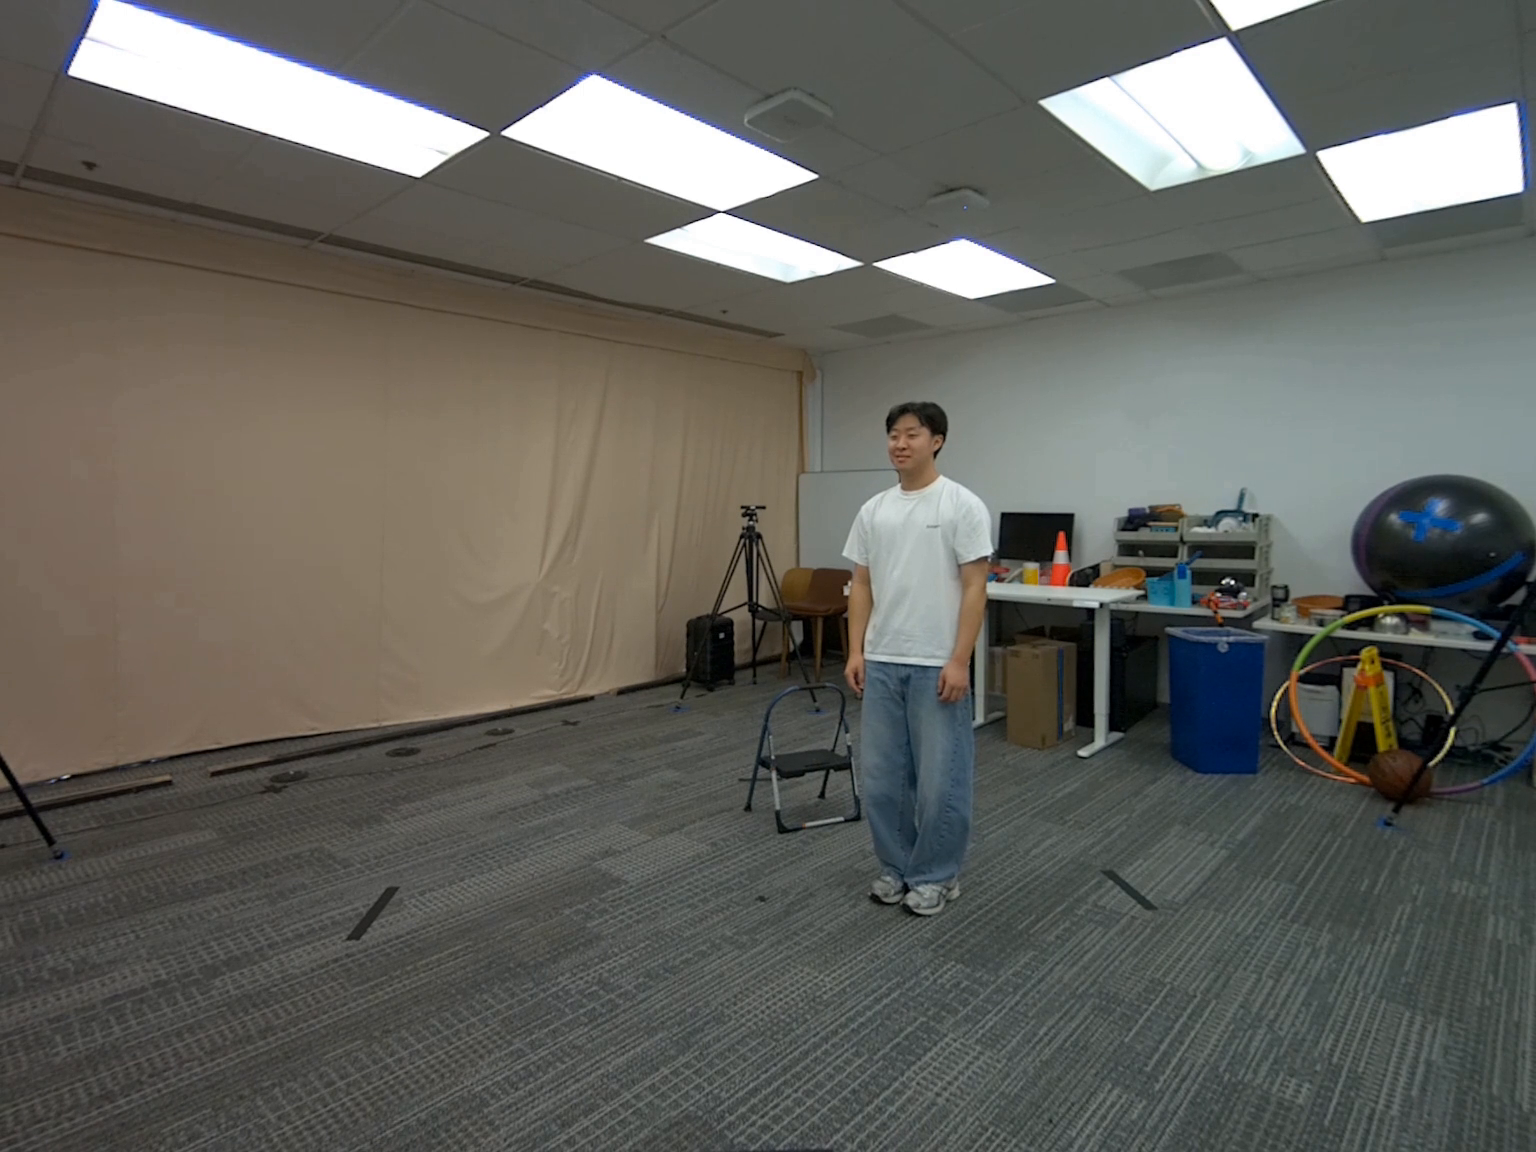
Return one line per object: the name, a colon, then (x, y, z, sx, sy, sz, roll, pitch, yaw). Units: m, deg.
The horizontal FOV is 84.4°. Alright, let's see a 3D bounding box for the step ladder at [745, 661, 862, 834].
step ladder: (0.151, 0.772, 3.791, 0.420, 0.605, 0.359, -2, 4, -26)
